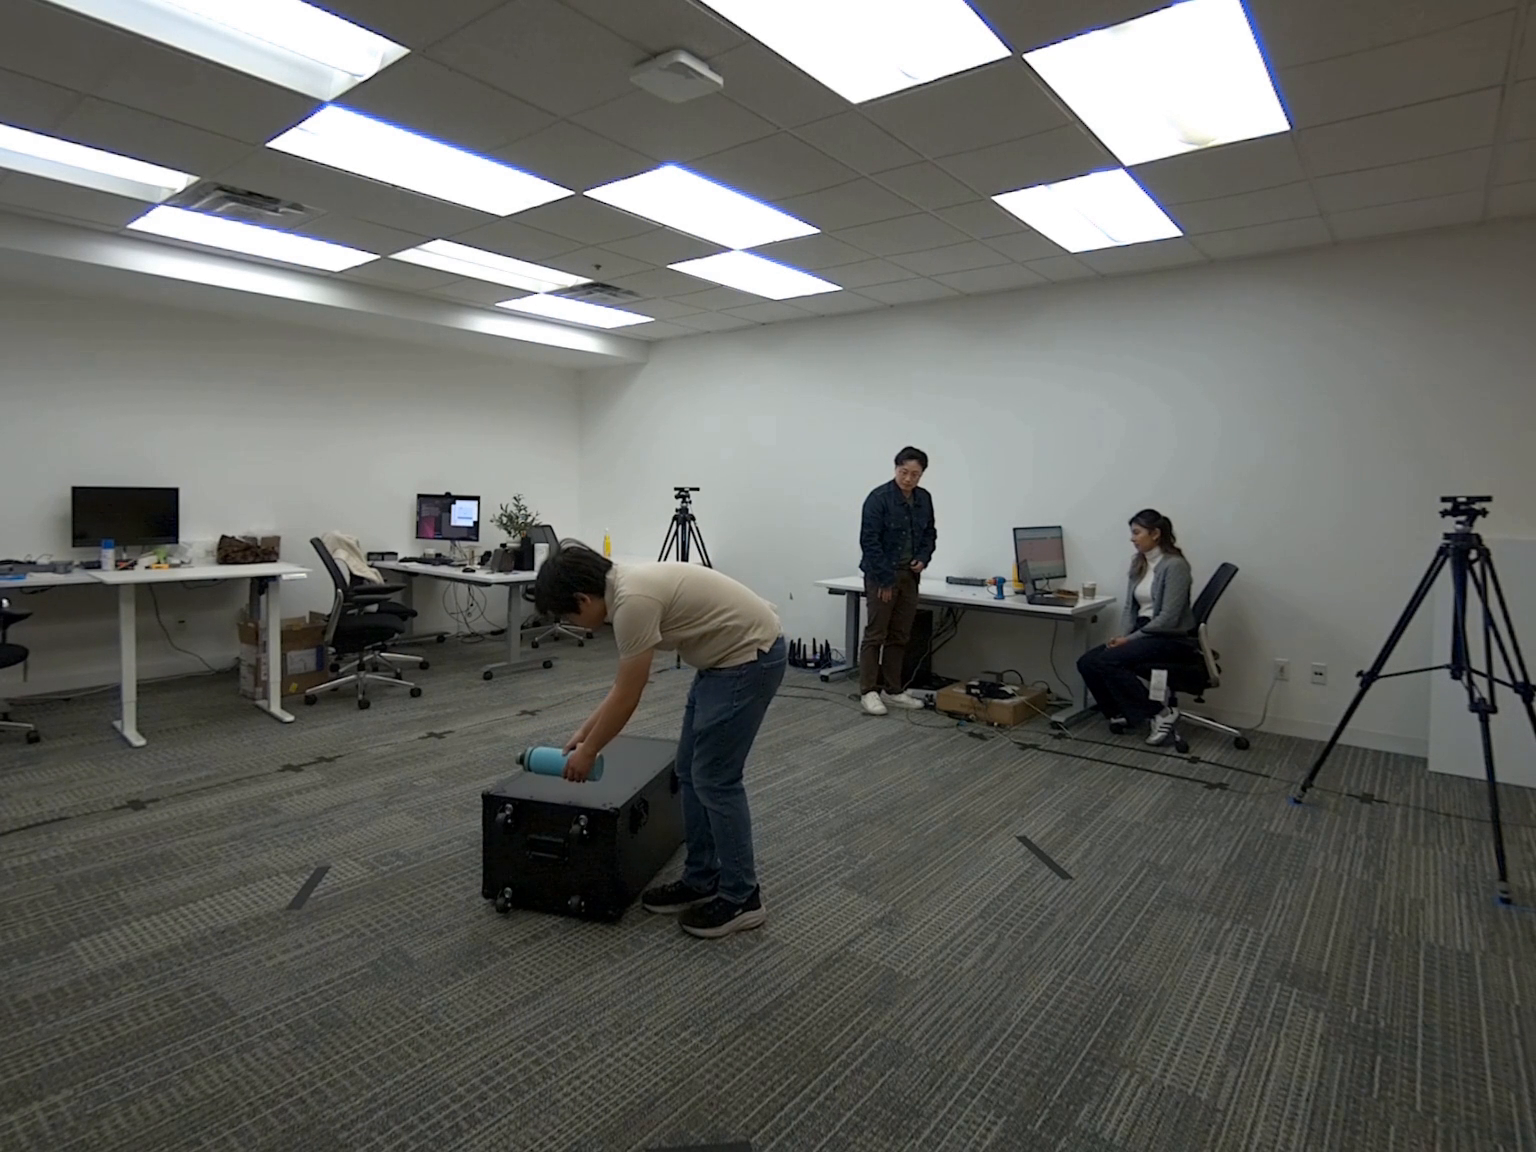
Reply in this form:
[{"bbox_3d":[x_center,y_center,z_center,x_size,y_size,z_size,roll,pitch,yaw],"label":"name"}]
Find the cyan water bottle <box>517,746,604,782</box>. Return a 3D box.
[{"bbox_3d":[-0.697,0.614,2.802,0.286,0.092,0.091,3,4,10],"label":"cyan water bottle"}]
